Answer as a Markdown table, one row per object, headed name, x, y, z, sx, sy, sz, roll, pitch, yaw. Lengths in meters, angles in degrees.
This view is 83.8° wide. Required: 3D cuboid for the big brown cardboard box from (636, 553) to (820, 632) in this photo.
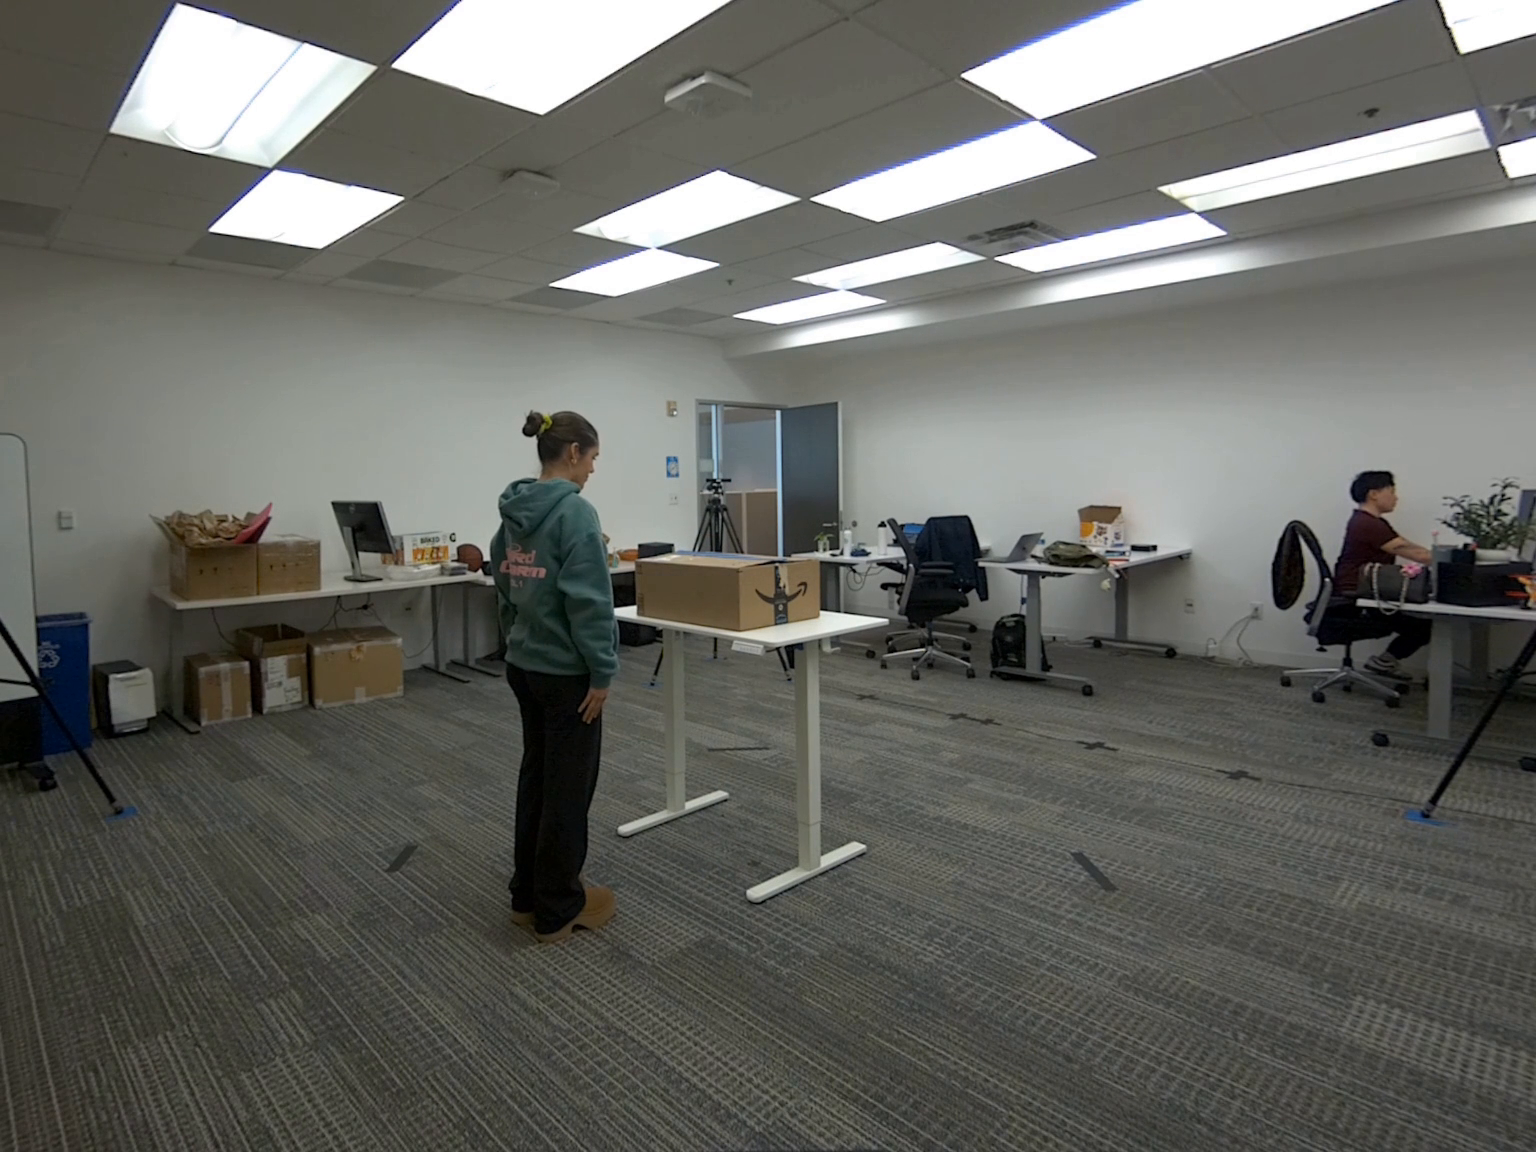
| name | x | y | z | sx | sy | sz | roll | pitch | yaw |
| --- | --- | --- | --- | --- | --- | --- | --- | --- | --- |
| big brown cardboard box | -0.160 | 0.046 | 3.203 | 0.607 | 0.232 | 0.406 | 6 | 8 | 44 |
